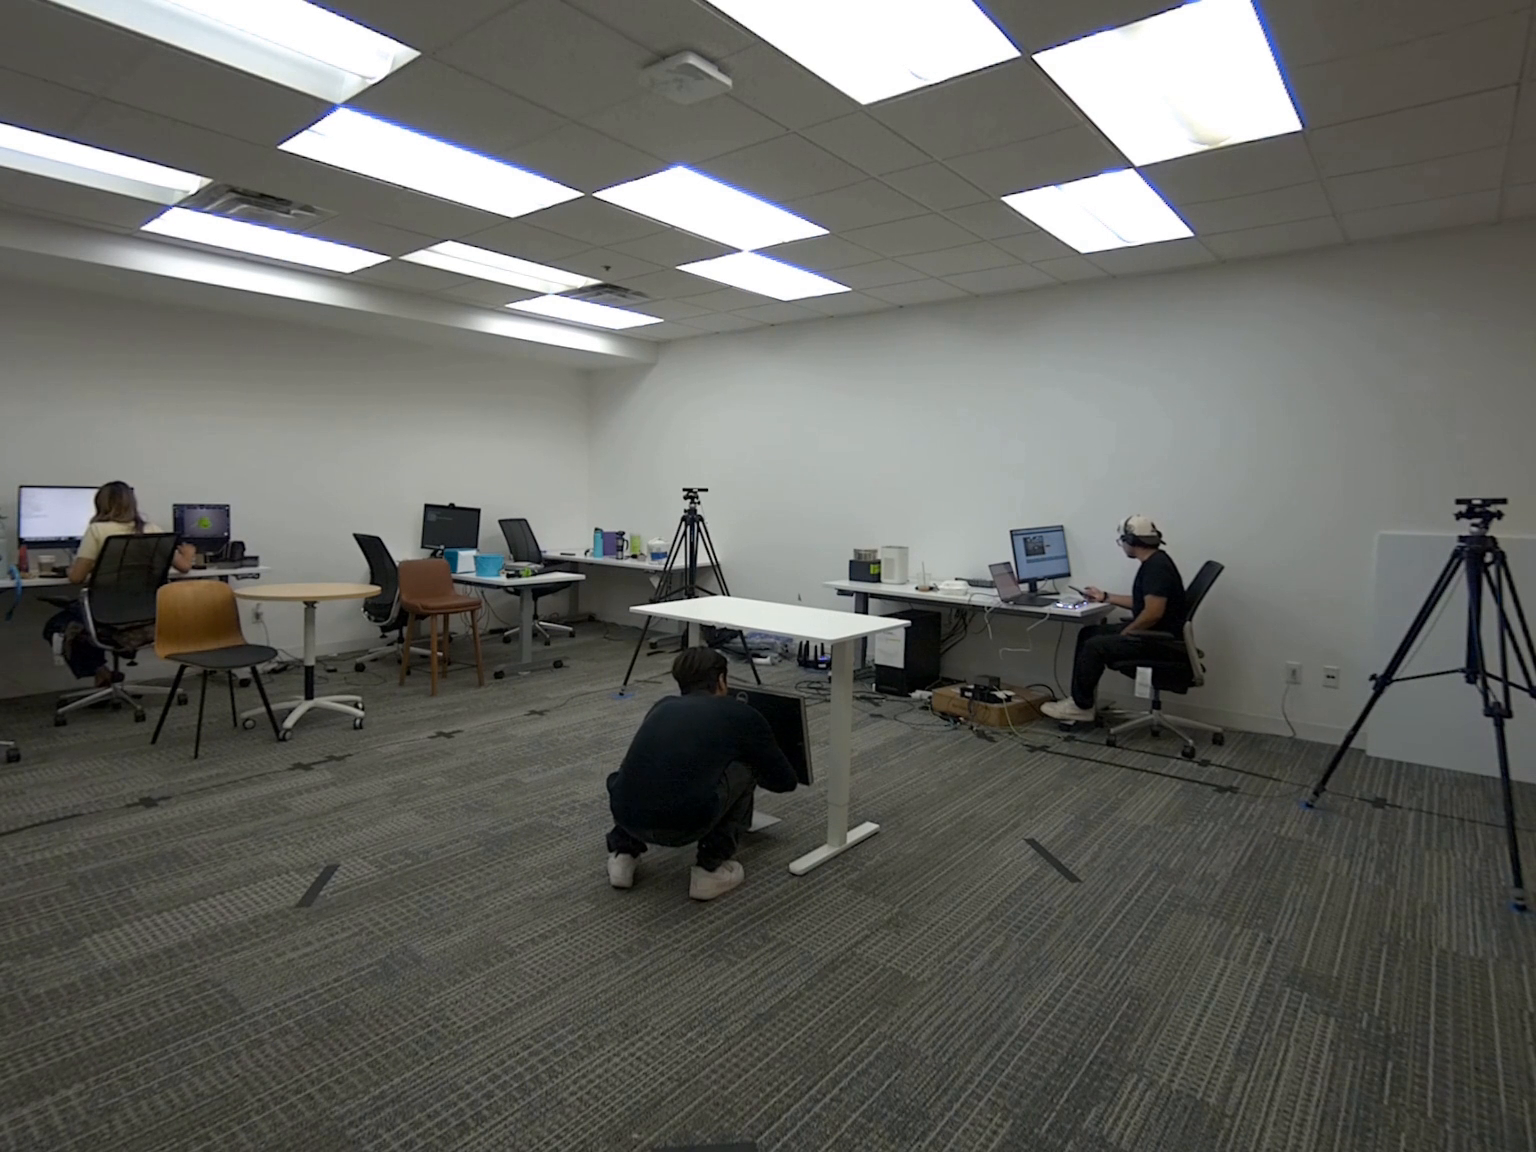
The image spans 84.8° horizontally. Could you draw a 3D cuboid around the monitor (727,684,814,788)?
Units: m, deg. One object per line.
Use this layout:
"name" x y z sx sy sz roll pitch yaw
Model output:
"monitor" -0.105 0.704 3.433 0.547 0.518 0.168 2 -6 41
